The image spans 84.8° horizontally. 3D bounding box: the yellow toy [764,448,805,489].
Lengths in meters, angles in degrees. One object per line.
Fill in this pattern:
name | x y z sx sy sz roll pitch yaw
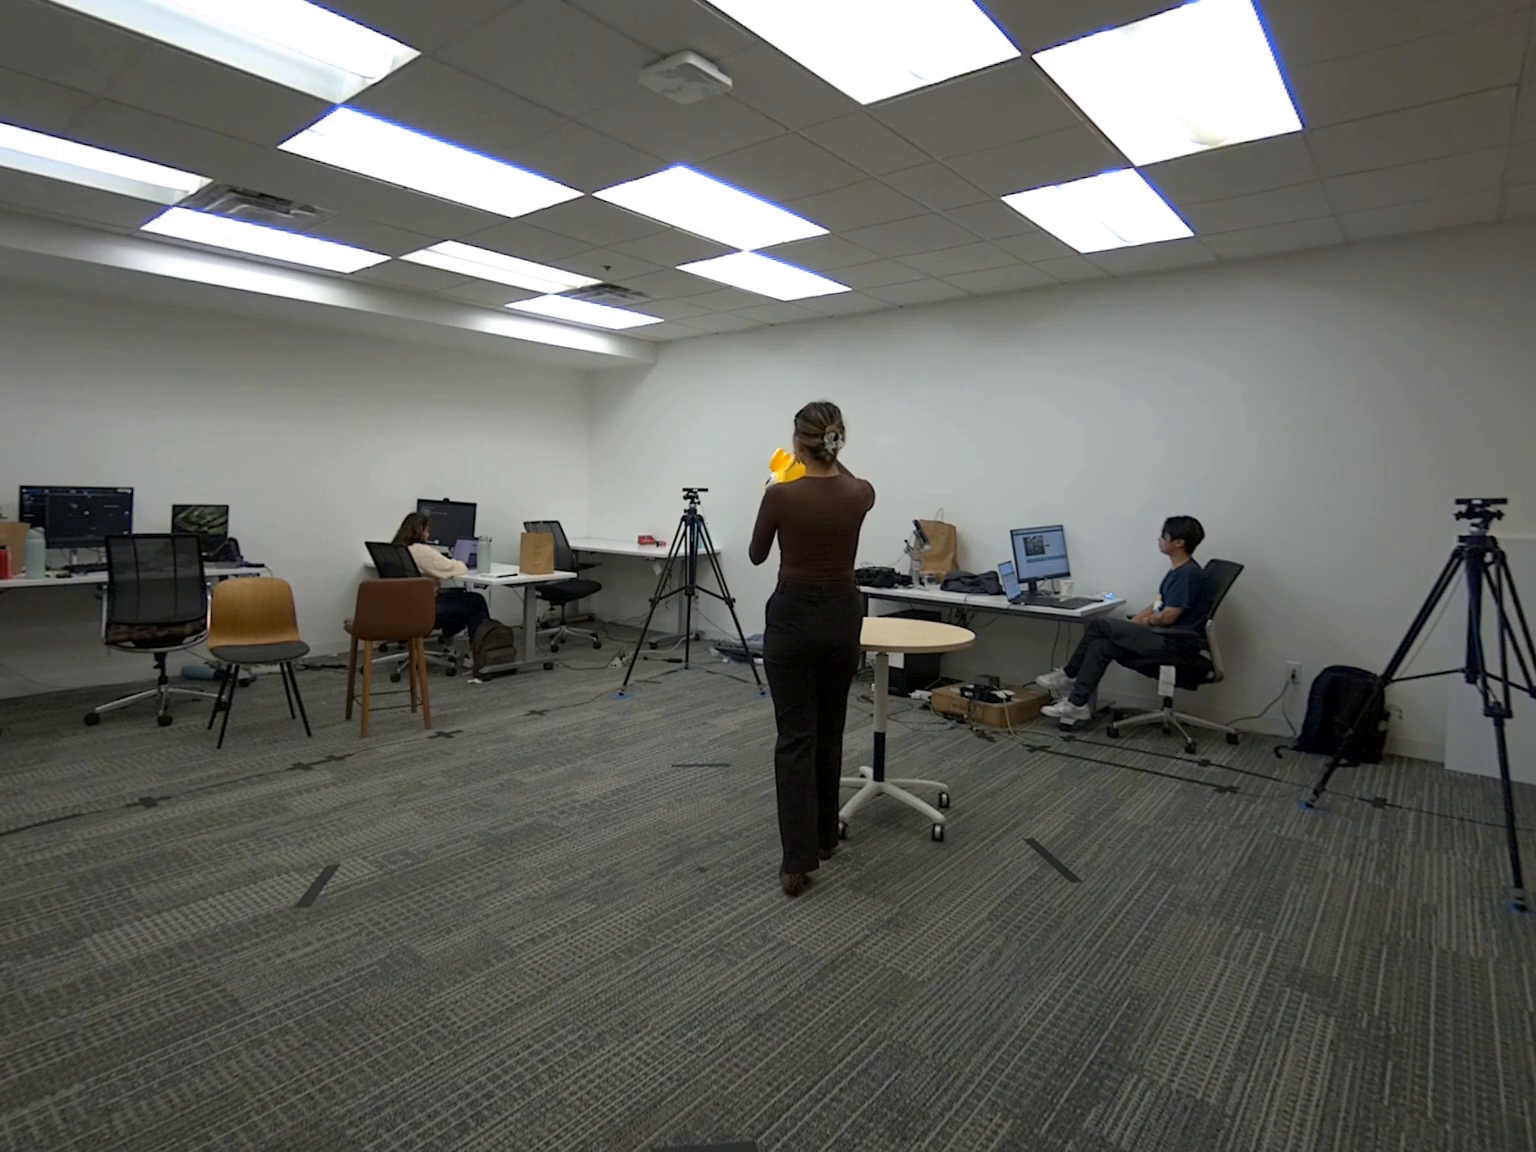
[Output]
yellow toy | 0.055 -0.375 3.493 0.208 0.232 0.188 21 -38 12
